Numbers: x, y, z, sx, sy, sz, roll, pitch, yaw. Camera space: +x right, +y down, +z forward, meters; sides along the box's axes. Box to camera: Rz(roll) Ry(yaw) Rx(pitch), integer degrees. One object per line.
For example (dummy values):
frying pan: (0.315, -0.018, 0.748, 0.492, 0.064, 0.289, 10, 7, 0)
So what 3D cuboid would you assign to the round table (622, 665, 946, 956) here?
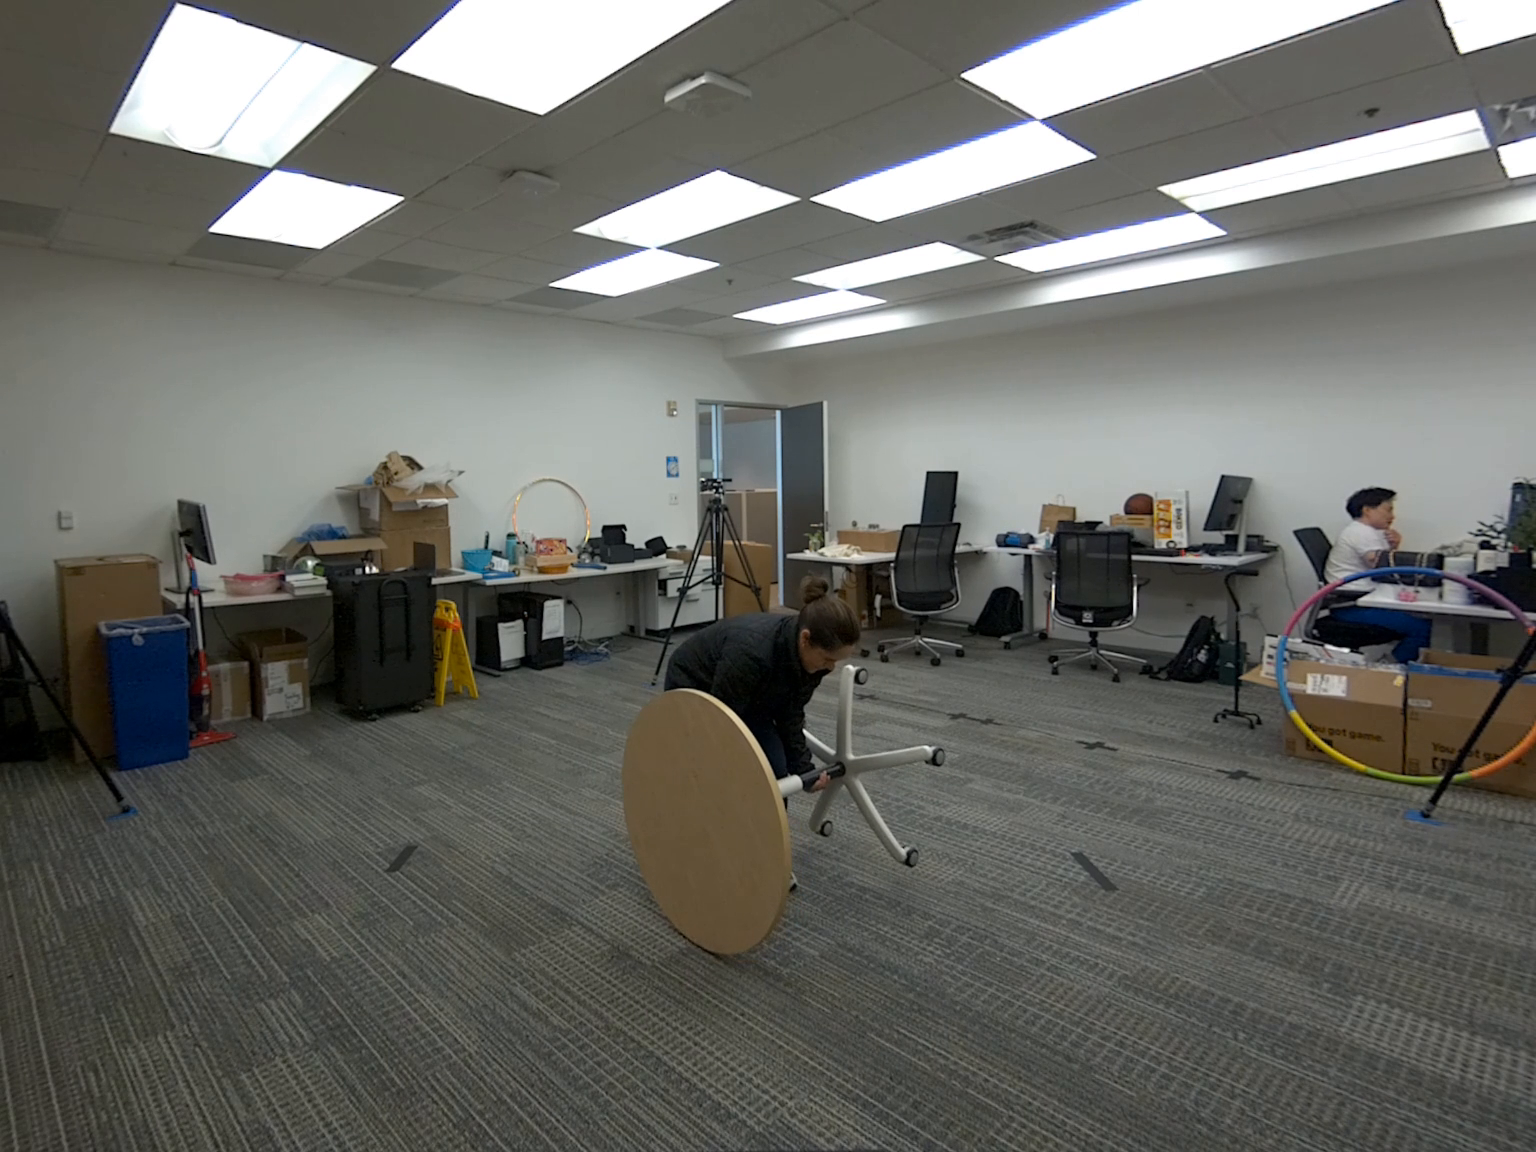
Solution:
round table: (0.063, 0.701, 2.822, 0.765, 0.783, 0.809, -3, 5, -43)
